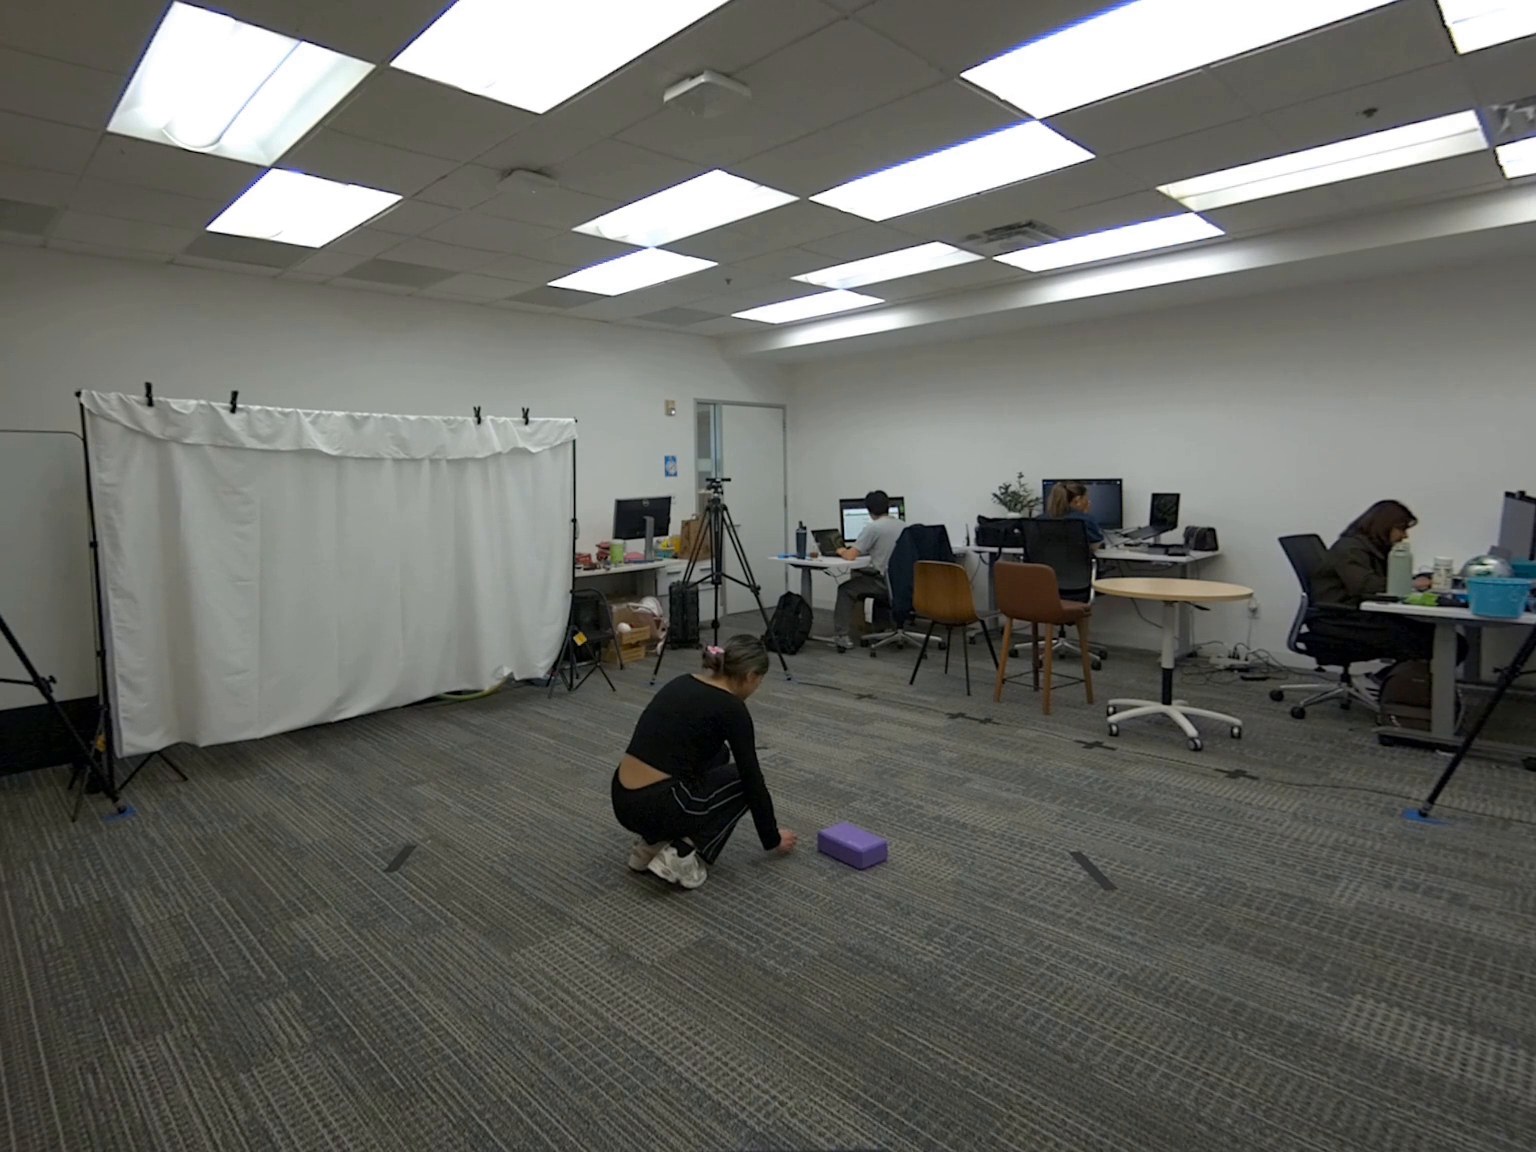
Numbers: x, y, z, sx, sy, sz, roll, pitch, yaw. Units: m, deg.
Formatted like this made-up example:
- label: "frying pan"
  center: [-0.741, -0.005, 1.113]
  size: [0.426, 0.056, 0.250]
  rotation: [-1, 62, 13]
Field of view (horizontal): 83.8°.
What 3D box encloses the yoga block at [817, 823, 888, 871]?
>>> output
- label: "yoga block"
  center: [0.309, 0.987, 3.148]
  size: [0.145, 0.076, 0.236]
  rotation: [-5, 8, -39]
